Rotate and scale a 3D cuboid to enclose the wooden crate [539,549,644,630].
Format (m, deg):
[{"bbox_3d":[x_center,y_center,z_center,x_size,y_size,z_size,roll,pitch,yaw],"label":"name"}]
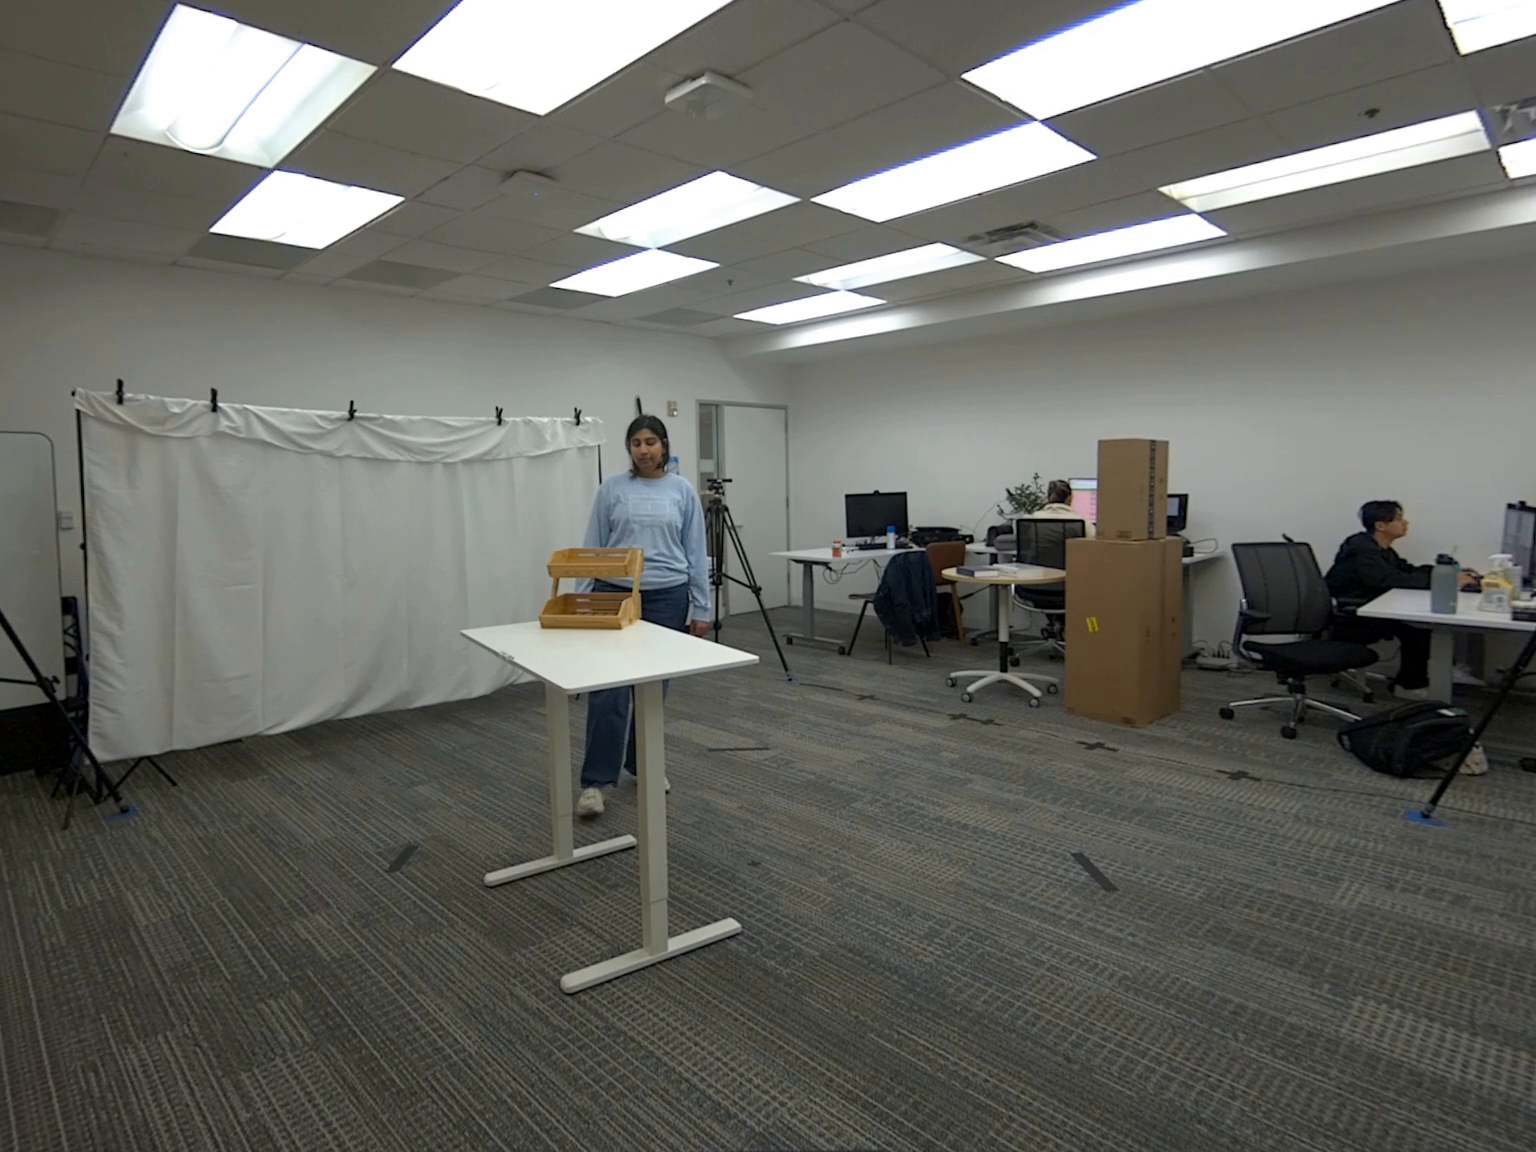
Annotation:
[{"bbox_3d":[-0.644,0.040,3.105,0.327,0.272,0.301,-1,5,7],"label":"wooden crate"}]
